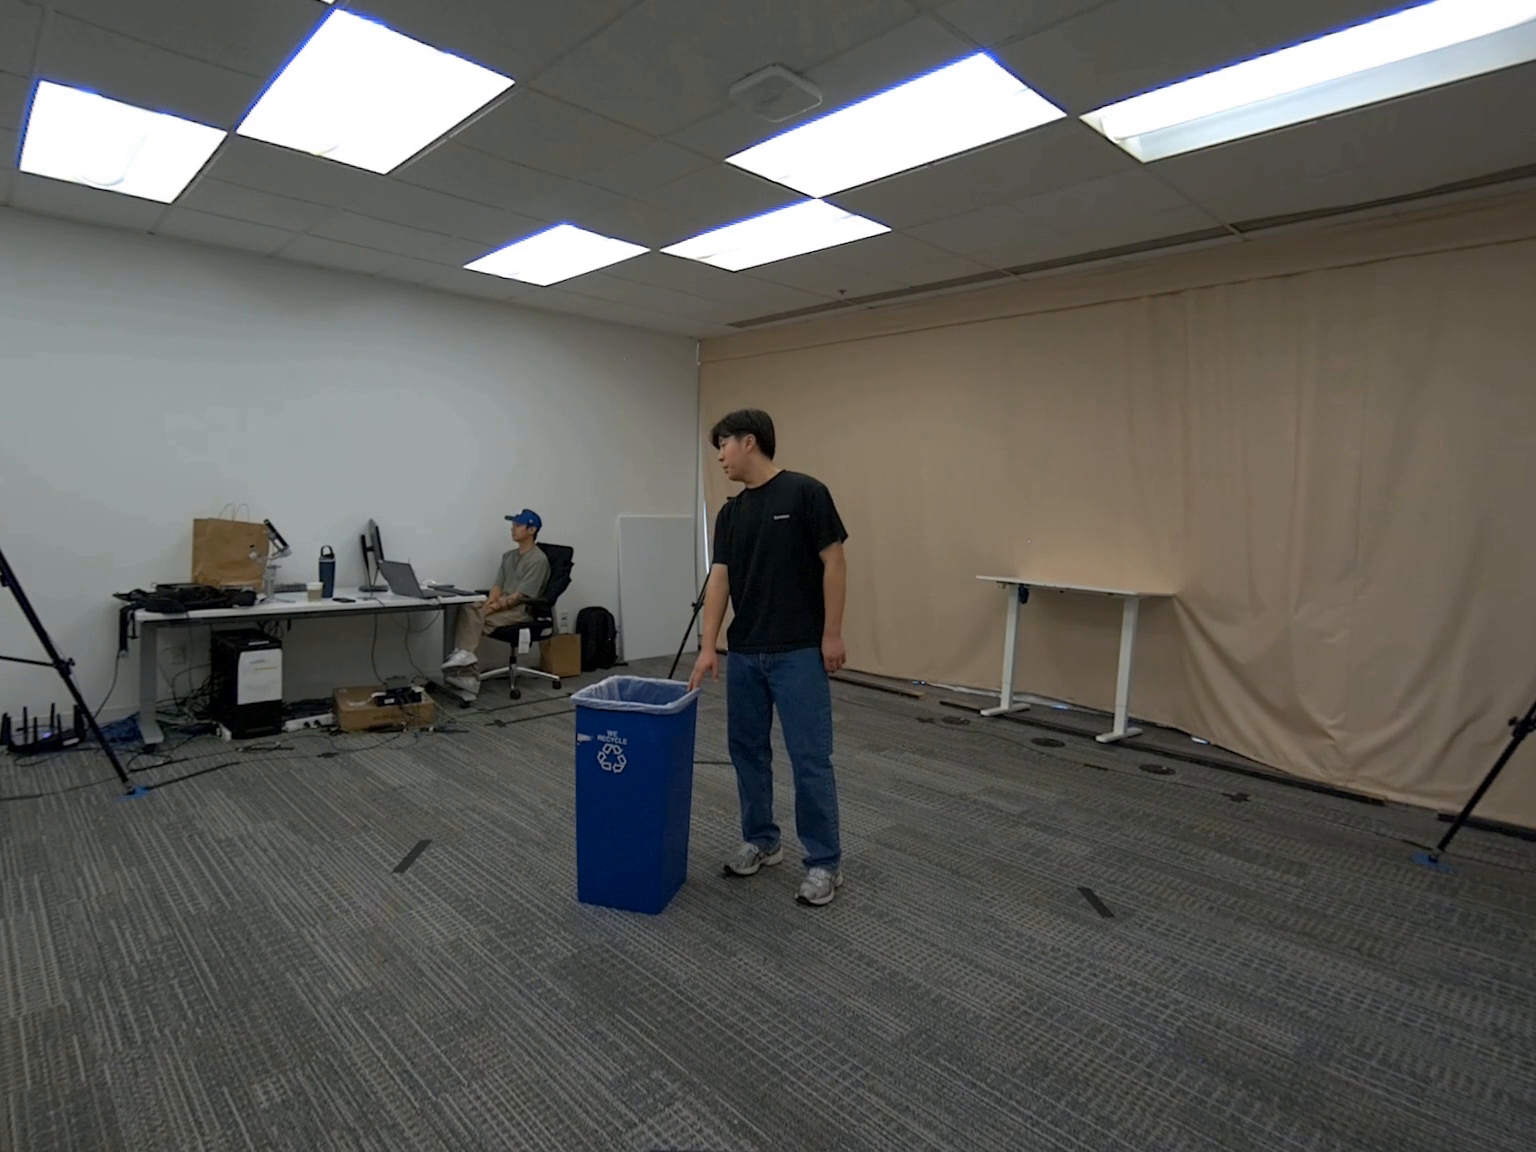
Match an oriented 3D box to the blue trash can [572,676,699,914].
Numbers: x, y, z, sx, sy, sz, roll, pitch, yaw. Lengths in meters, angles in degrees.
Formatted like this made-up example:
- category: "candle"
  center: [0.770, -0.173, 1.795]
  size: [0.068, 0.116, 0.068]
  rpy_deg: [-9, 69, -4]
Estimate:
- category: "blue trash can"
  center: [-0.475, 0.757, 2.953]
  size: [0.379, 0.712, 0.374]
  rpy_deg: [4, 4, 14]
